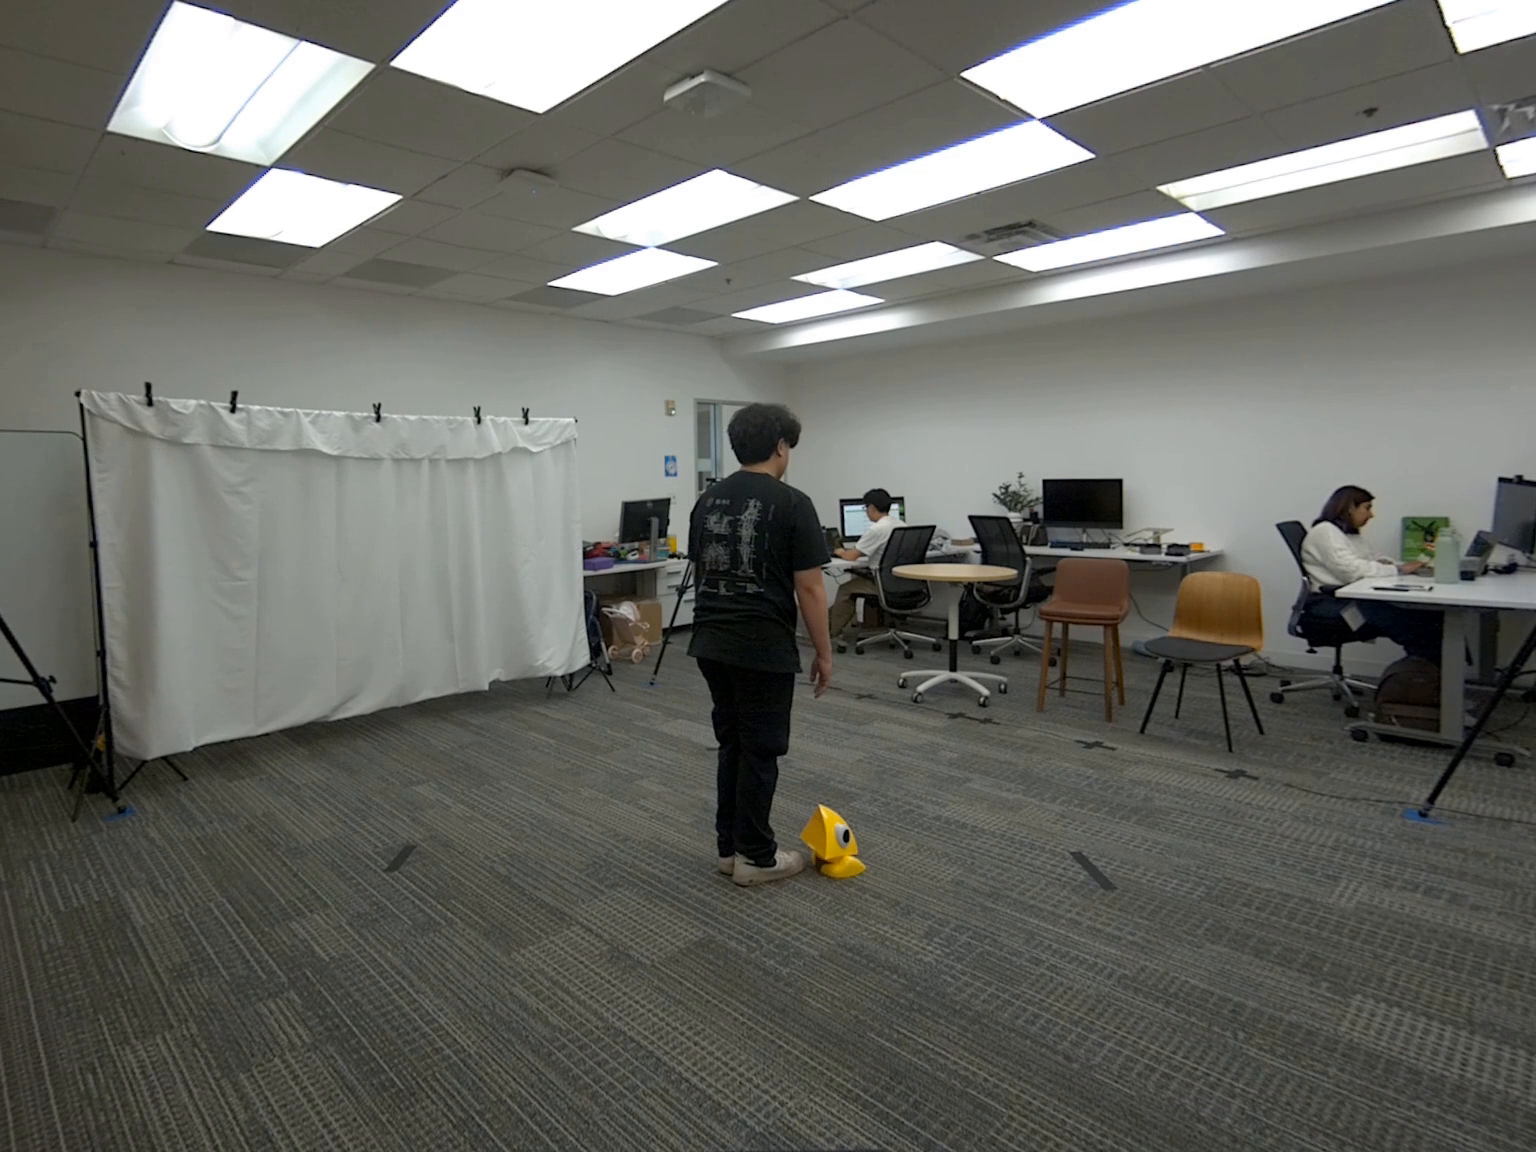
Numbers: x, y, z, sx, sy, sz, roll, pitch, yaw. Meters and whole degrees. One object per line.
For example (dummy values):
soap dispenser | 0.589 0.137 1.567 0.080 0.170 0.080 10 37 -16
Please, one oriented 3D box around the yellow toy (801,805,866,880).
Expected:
yellow toy | 0.236 0.924 3.068 0.189 0.230 0.209 -4 5 -23
